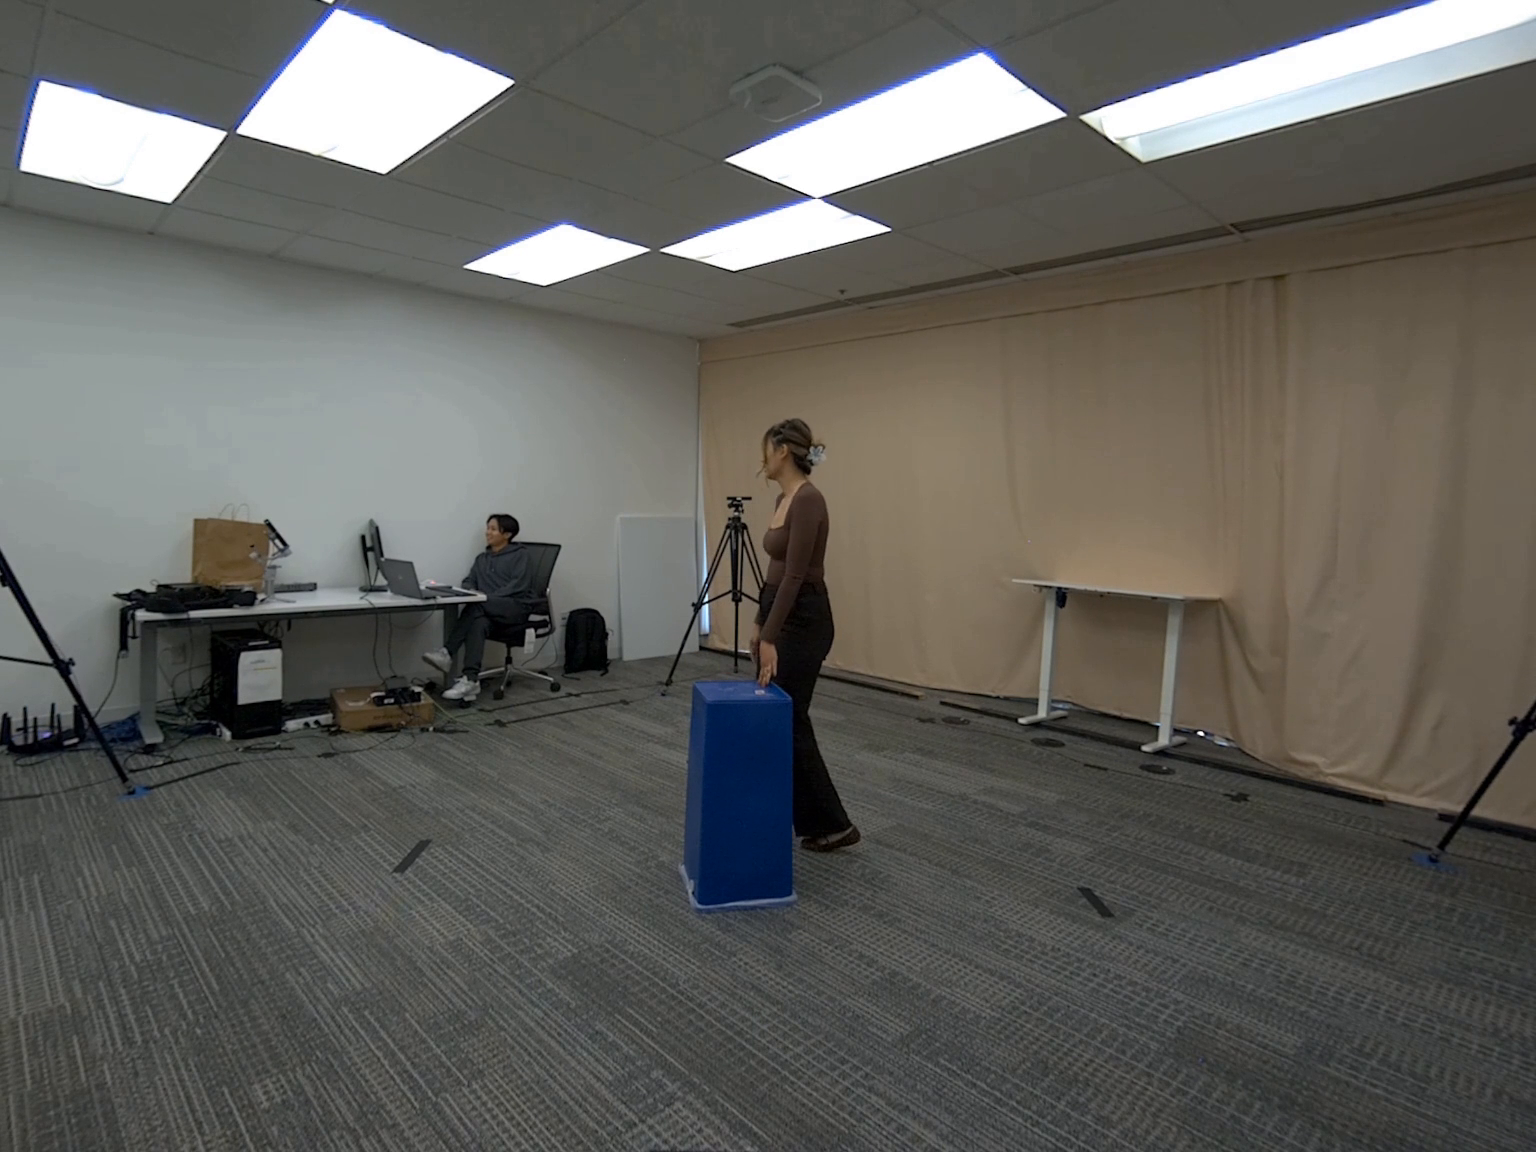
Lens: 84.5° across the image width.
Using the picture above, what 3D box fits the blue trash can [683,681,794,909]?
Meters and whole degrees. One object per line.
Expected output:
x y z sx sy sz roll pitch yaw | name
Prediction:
-0.106 0.761 3.008 0.370 0.712 0.383 2 3 -15 | blue trash can
